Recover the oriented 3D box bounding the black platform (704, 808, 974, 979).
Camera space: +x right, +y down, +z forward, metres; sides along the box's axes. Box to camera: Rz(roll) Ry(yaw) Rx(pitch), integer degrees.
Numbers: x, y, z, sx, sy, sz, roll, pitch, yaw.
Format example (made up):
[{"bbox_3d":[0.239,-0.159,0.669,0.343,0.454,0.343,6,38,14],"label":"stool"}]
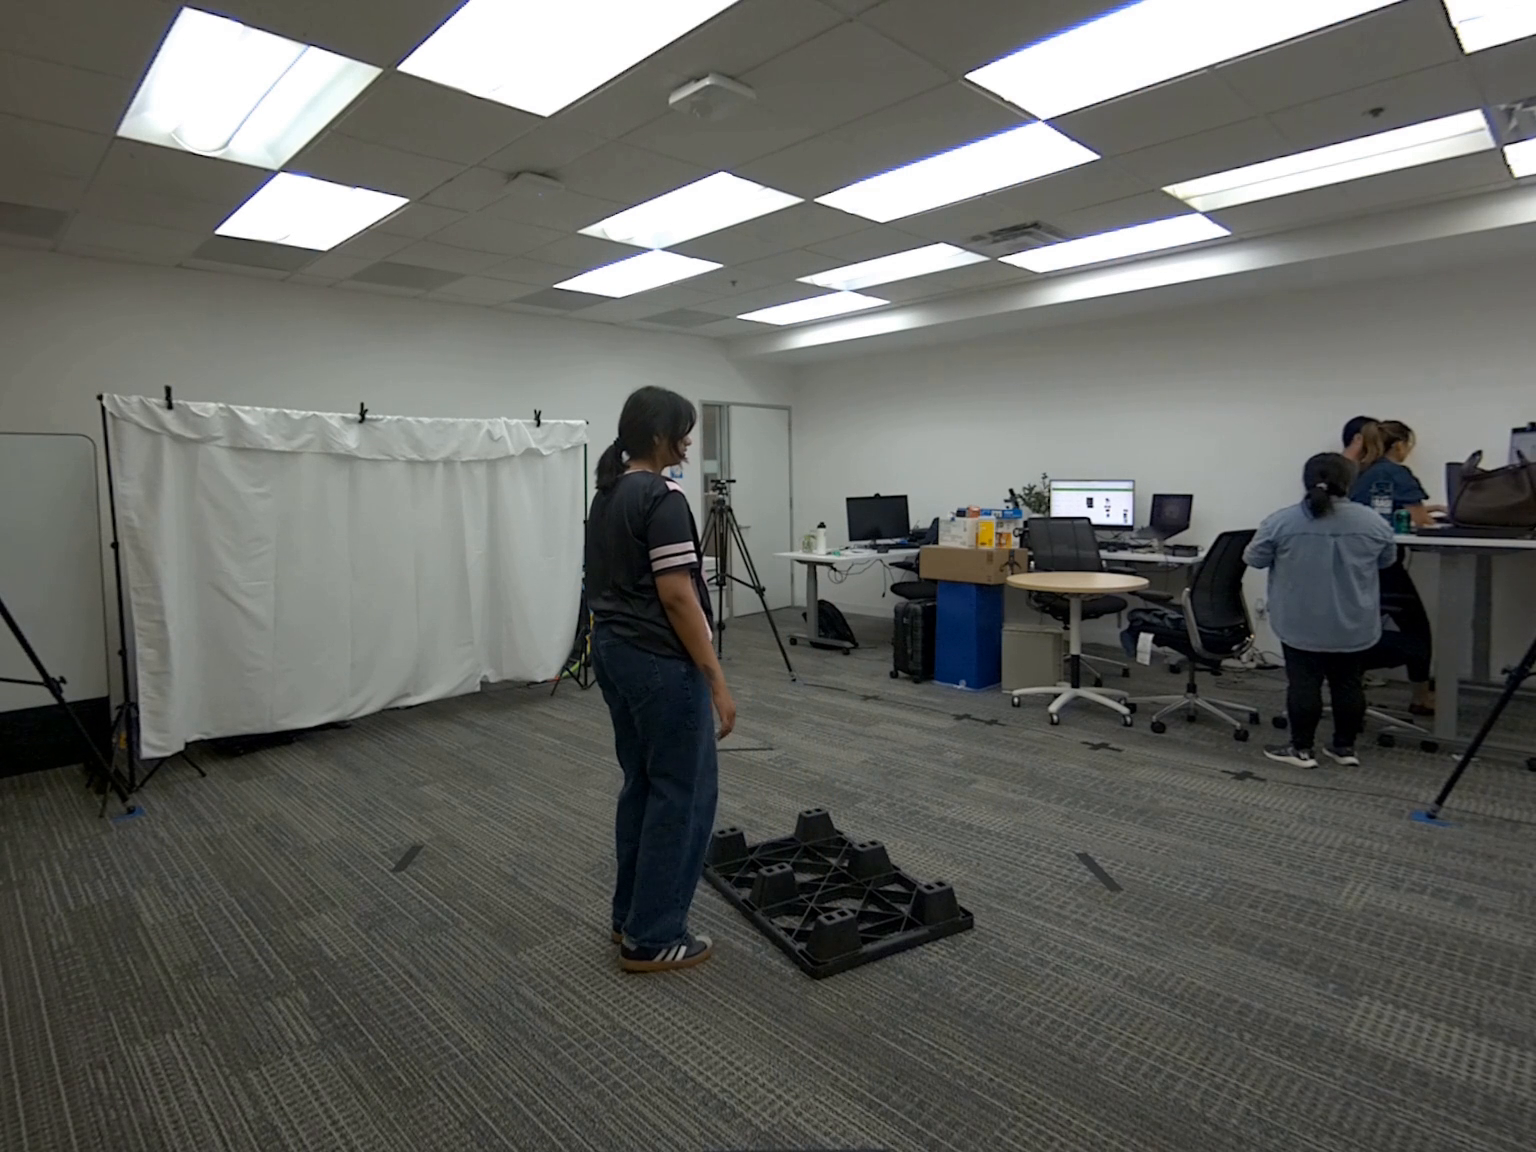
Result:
[{"bbox_3d":[0.184,1.005,2.863,0.591,0.143,0.828,-4,7,-29],"label":"black platform"}]
